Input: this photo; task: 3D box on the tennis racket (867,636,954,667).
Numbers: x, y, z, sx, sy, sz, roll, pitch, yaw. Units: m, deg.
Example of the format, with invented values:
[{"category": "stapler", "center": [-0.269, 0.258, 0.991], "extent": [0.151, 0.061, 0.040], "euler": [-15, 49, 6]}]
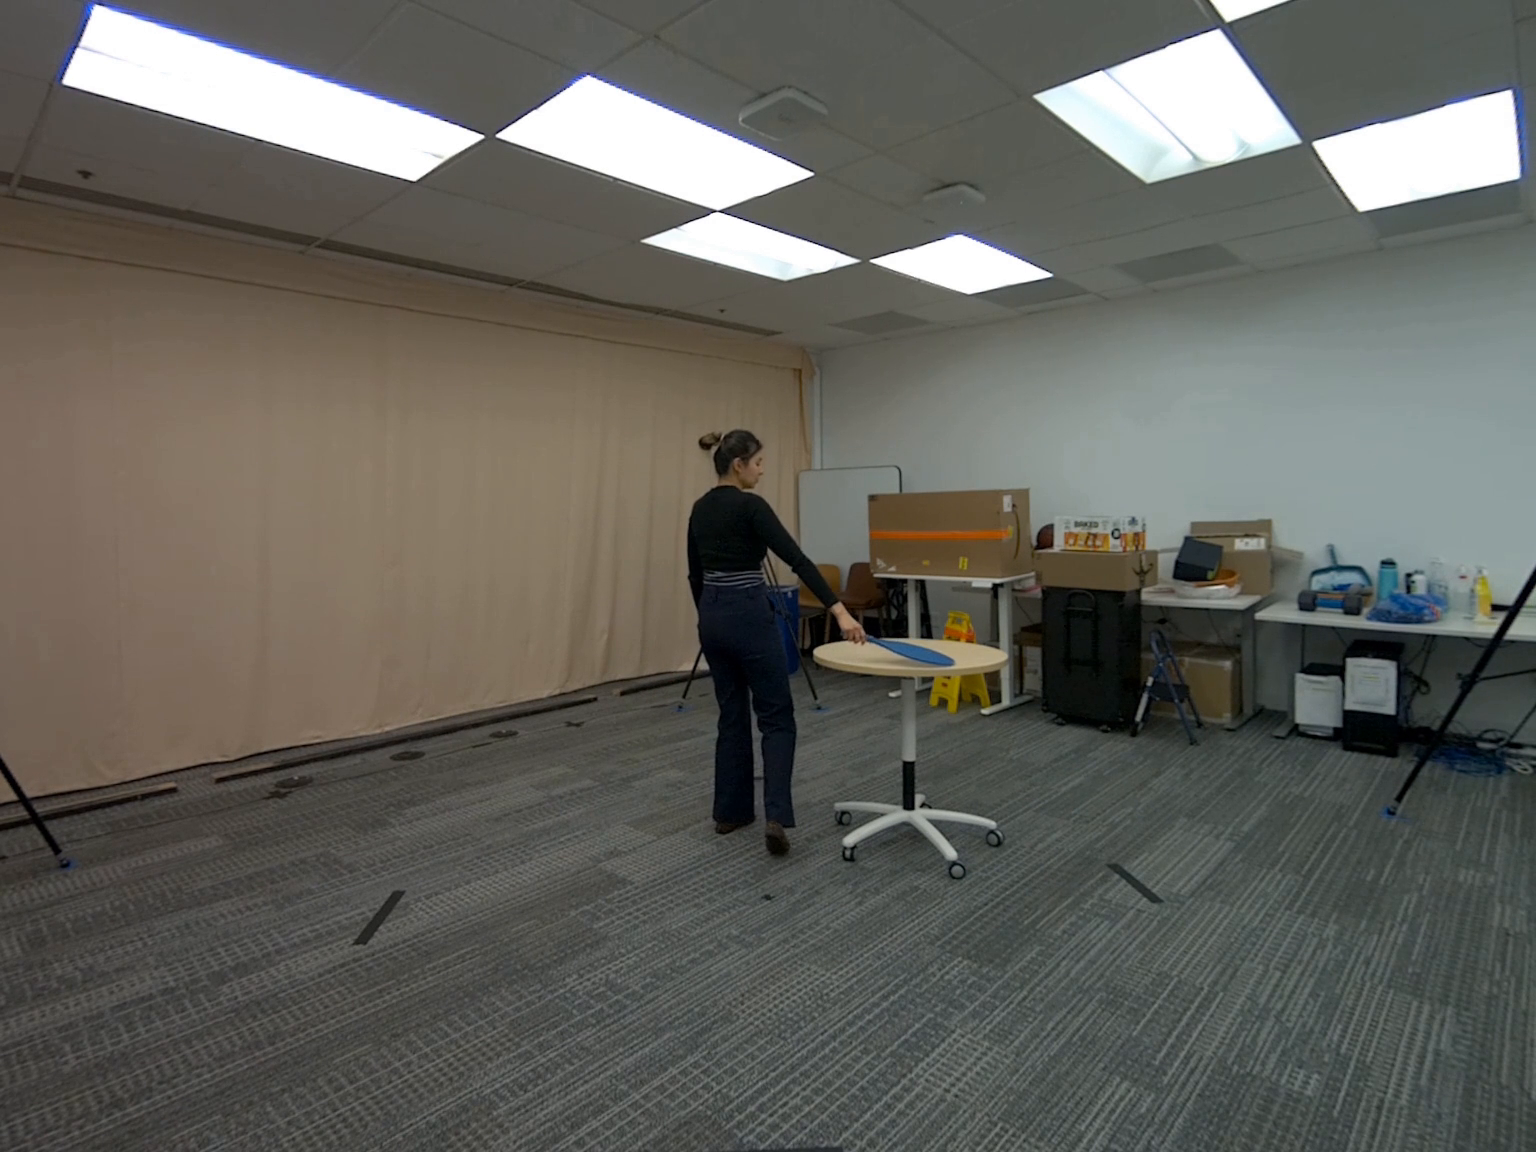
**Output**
[{"category": "tennis racket", "center": [0.499, 0.270, 3.187], "extent": [0.440, 0.031, 0.211], "euler": [17, 10, 13]}]
